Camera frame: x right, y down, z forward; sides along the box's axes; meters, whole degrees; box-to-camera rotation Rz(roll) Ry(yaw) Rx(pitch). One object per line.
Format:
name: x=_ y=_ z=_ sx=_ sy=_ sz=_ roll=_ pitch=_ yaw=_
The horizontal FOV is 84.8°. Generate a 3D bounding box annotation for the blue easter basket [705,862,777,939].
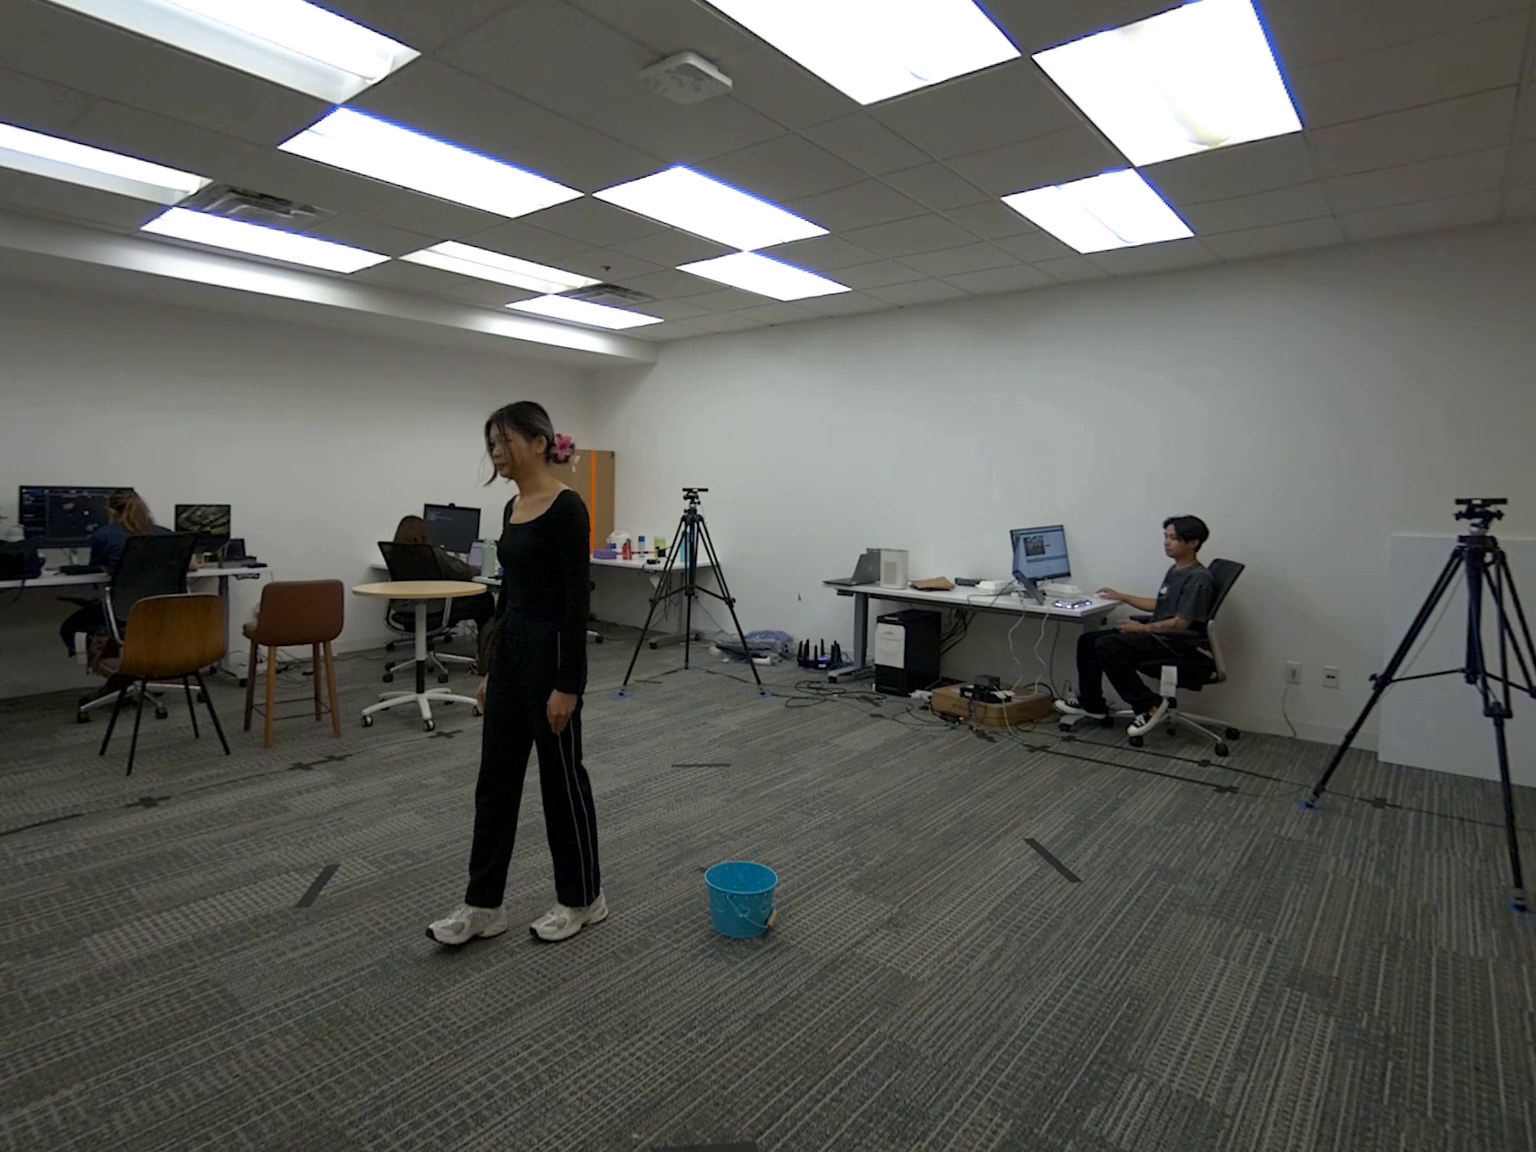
blue easter basket: x=-0.090 y=1.031 z=2.722 sx=0.243 sy=0.155 sz=0.245 roll=1 pitch=5 yaw=-2
